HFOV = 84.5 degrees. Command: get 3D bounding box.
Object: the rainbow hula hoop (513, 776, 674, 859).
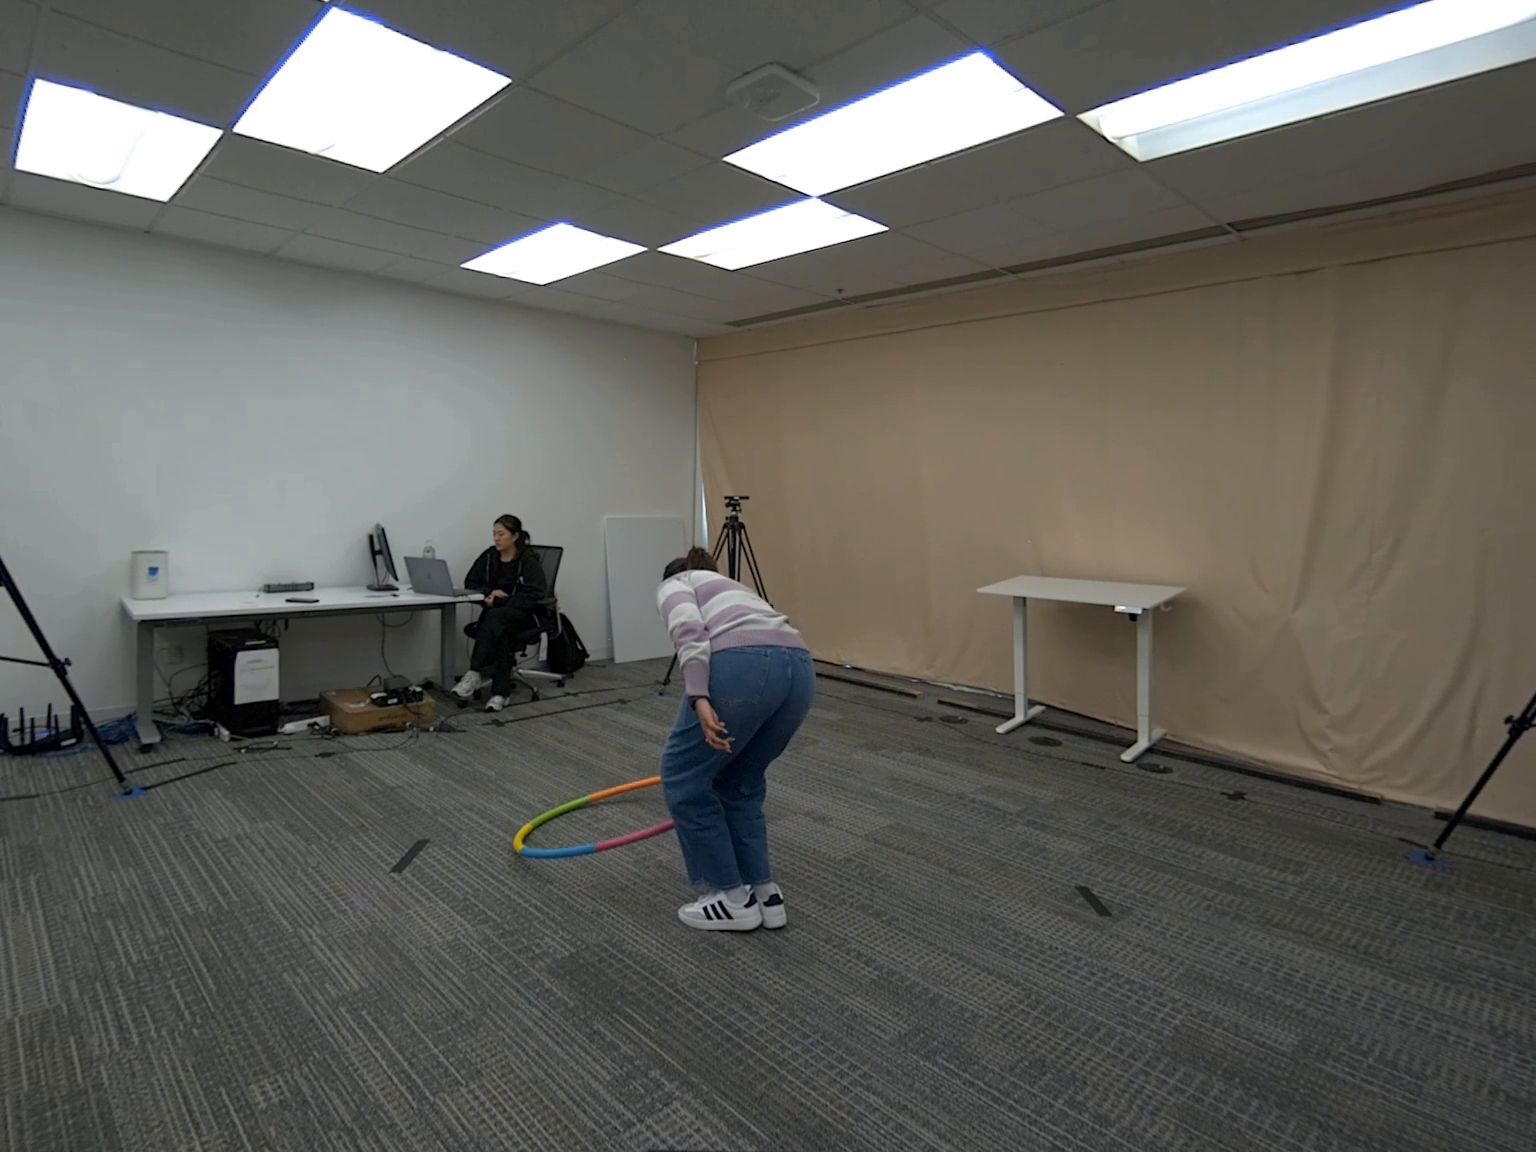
[{"bbox_3d":[-0.533,0.921,3.368,0.984,0.052,0.984,-14,-1,-2],"label":"rainbow hula hoop"}]
